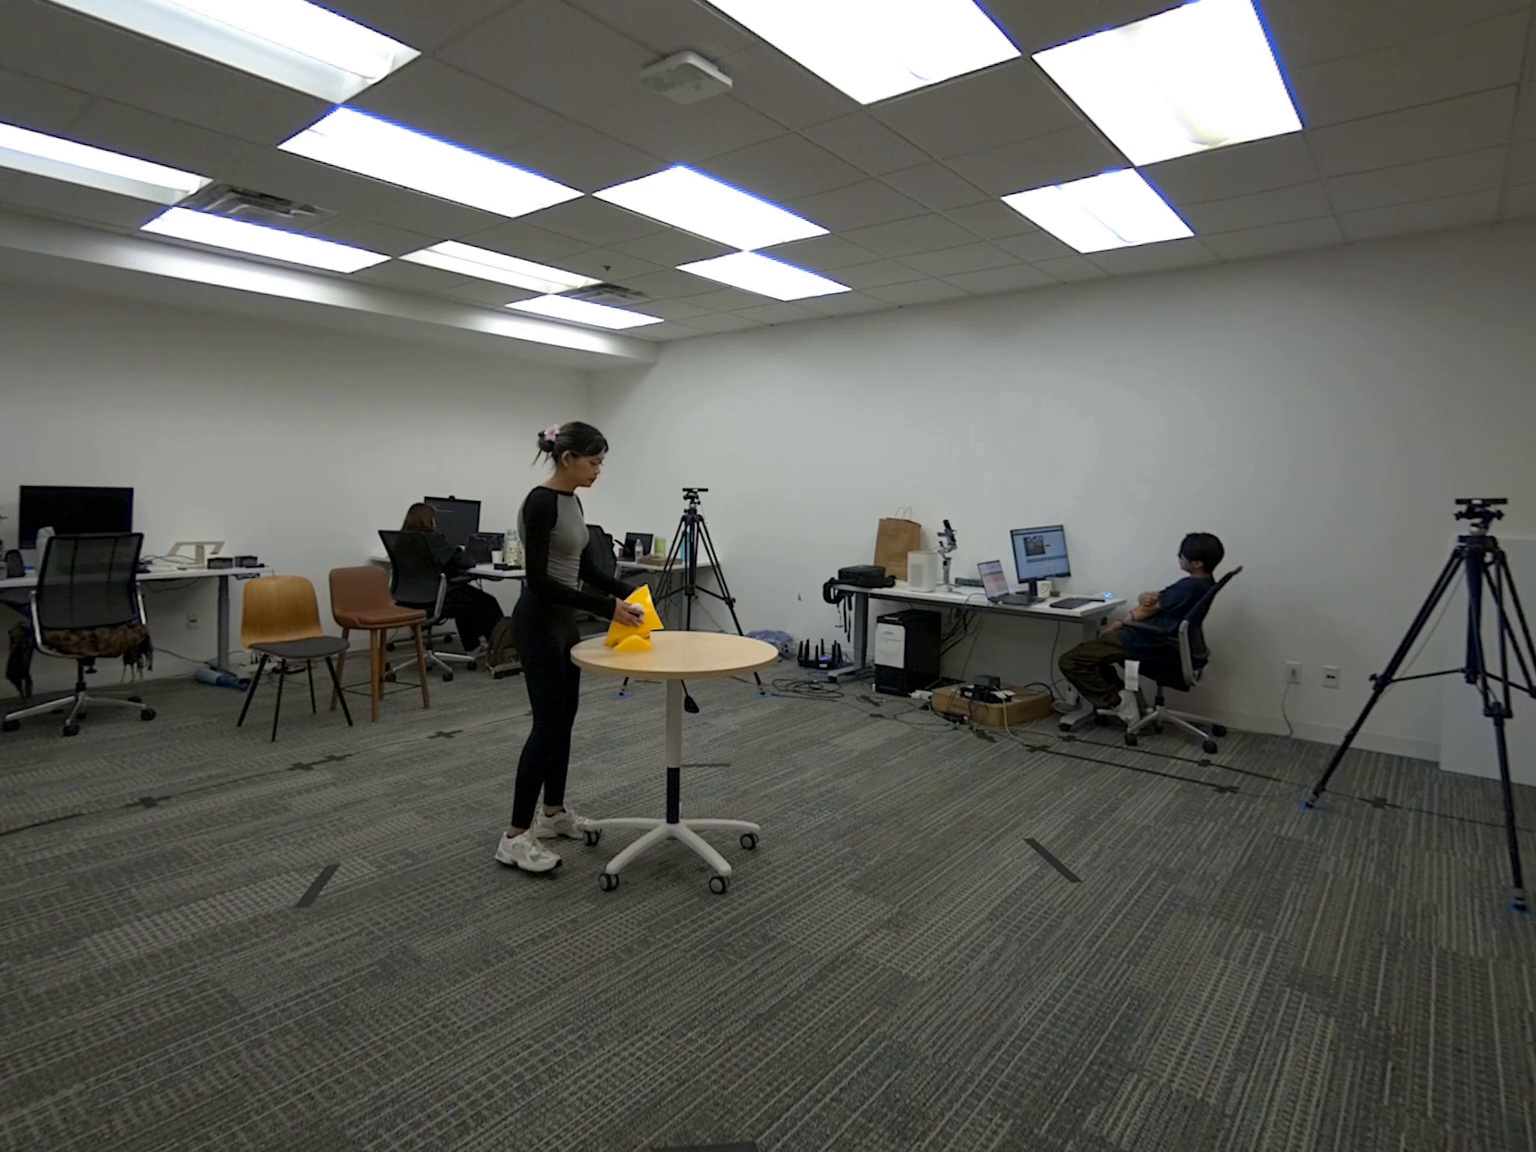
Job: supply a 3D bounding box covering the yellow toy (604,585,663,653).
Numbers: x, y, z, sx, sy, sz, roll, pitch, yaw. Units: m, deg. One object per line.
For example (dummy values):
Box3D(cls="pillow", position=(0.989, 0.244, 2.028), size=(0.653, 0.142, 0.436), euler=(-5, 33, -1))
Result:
Box3D(cls="yellow toy", position=(-0.527, 0.152, 3.194), size=(0.188, 0.230, 0.211), euler=(-2, 4, -28))
